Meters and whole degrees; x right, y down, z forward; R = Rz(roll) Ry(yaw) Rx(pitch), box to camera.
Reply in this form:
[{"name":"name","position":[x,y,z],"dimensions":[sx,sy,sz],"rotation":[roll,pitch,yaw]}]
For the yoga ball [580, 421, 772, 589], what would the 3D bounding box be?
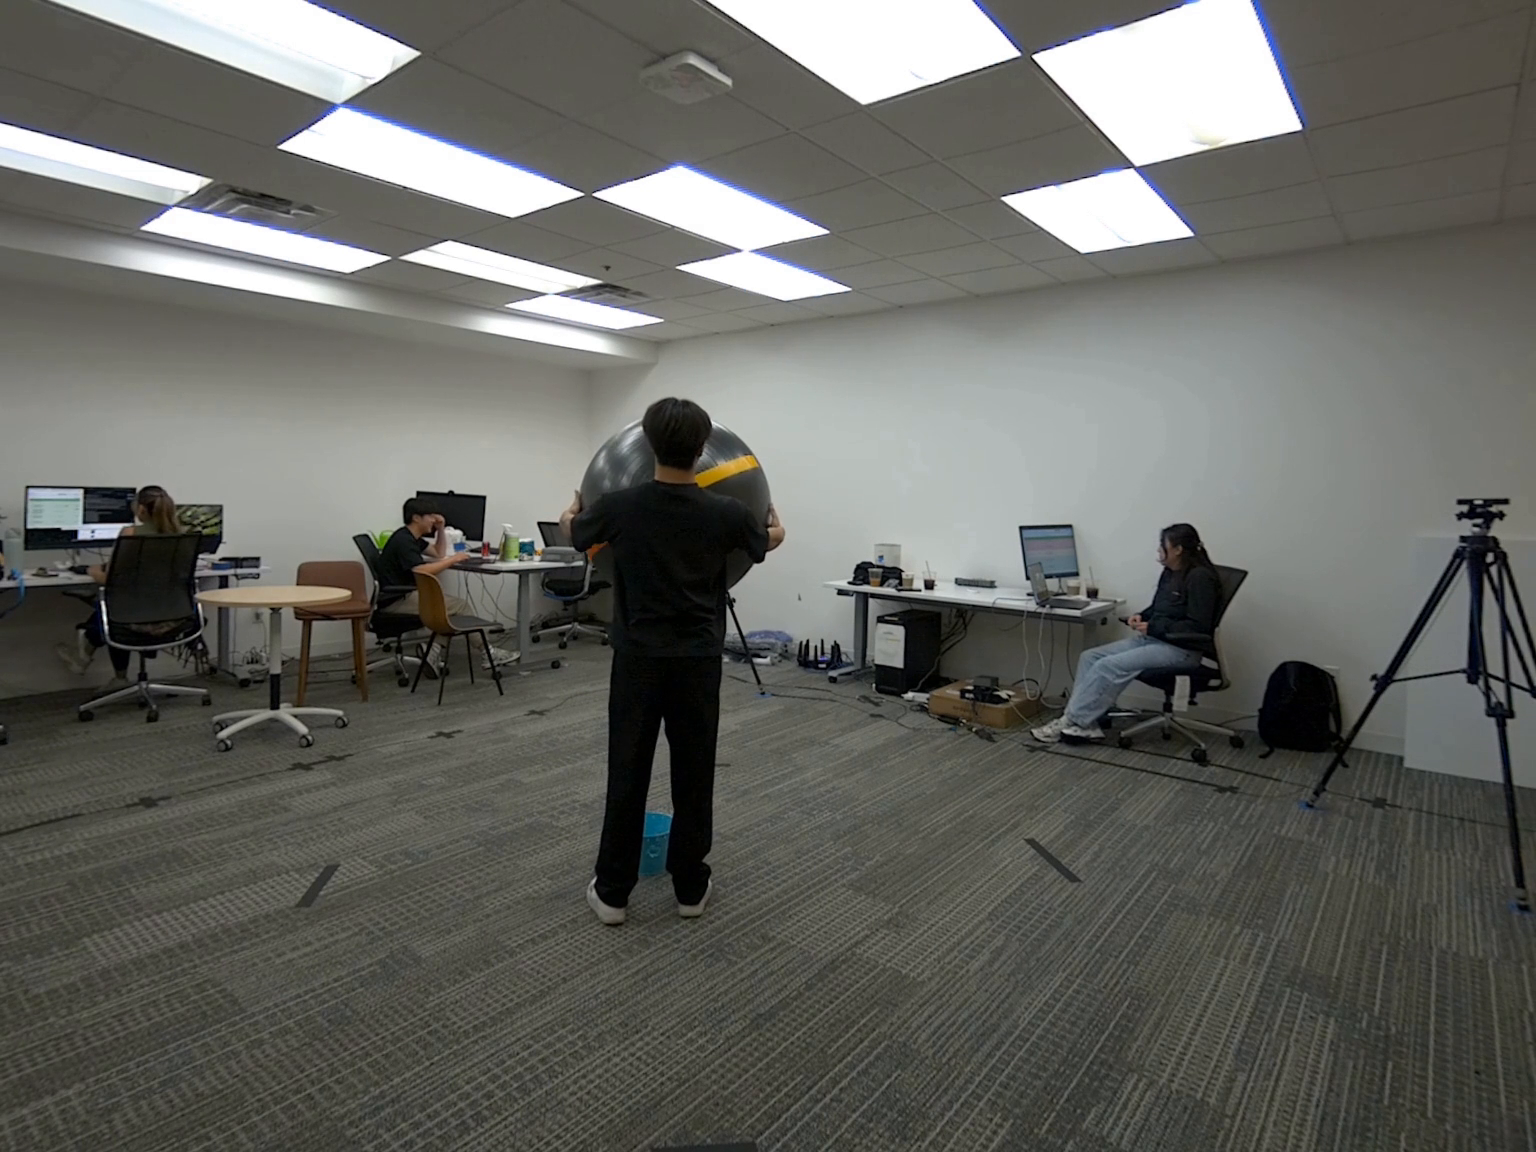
[{"name":"yoga ball","position":[-0.375,-0.251,3.346],"dimensions":[0.757,0.756,0.761],"rotation":[1,4,-2]}]
